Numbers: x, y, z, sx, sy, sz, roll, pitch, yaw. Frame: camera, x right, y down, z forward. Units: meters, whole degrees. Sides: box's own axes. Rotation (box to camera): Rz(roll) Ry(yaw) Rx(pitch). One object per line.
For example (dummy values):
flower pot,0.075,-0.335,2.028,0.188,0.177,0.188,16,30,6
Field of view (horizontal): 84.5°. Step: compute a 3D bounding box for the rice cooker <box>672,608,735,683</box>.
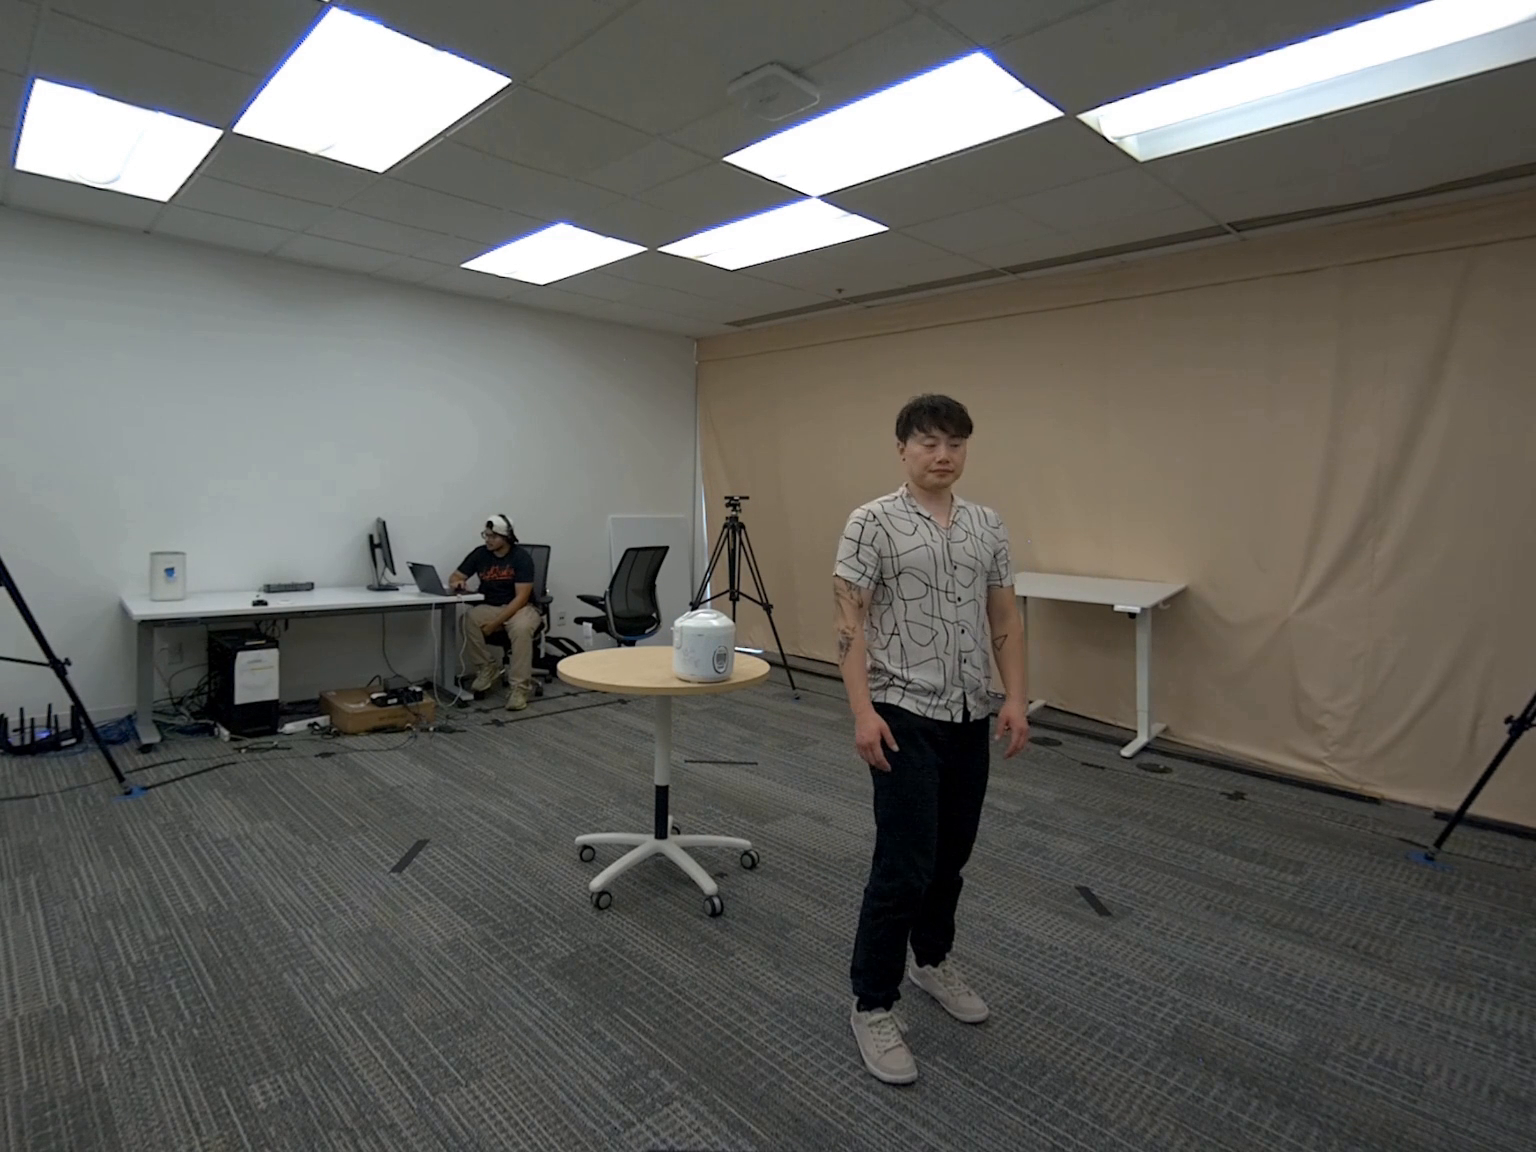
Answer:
rice cooker,-0.219,0.227,2.820,0.216,0.232,0.223,-1,4,-36
